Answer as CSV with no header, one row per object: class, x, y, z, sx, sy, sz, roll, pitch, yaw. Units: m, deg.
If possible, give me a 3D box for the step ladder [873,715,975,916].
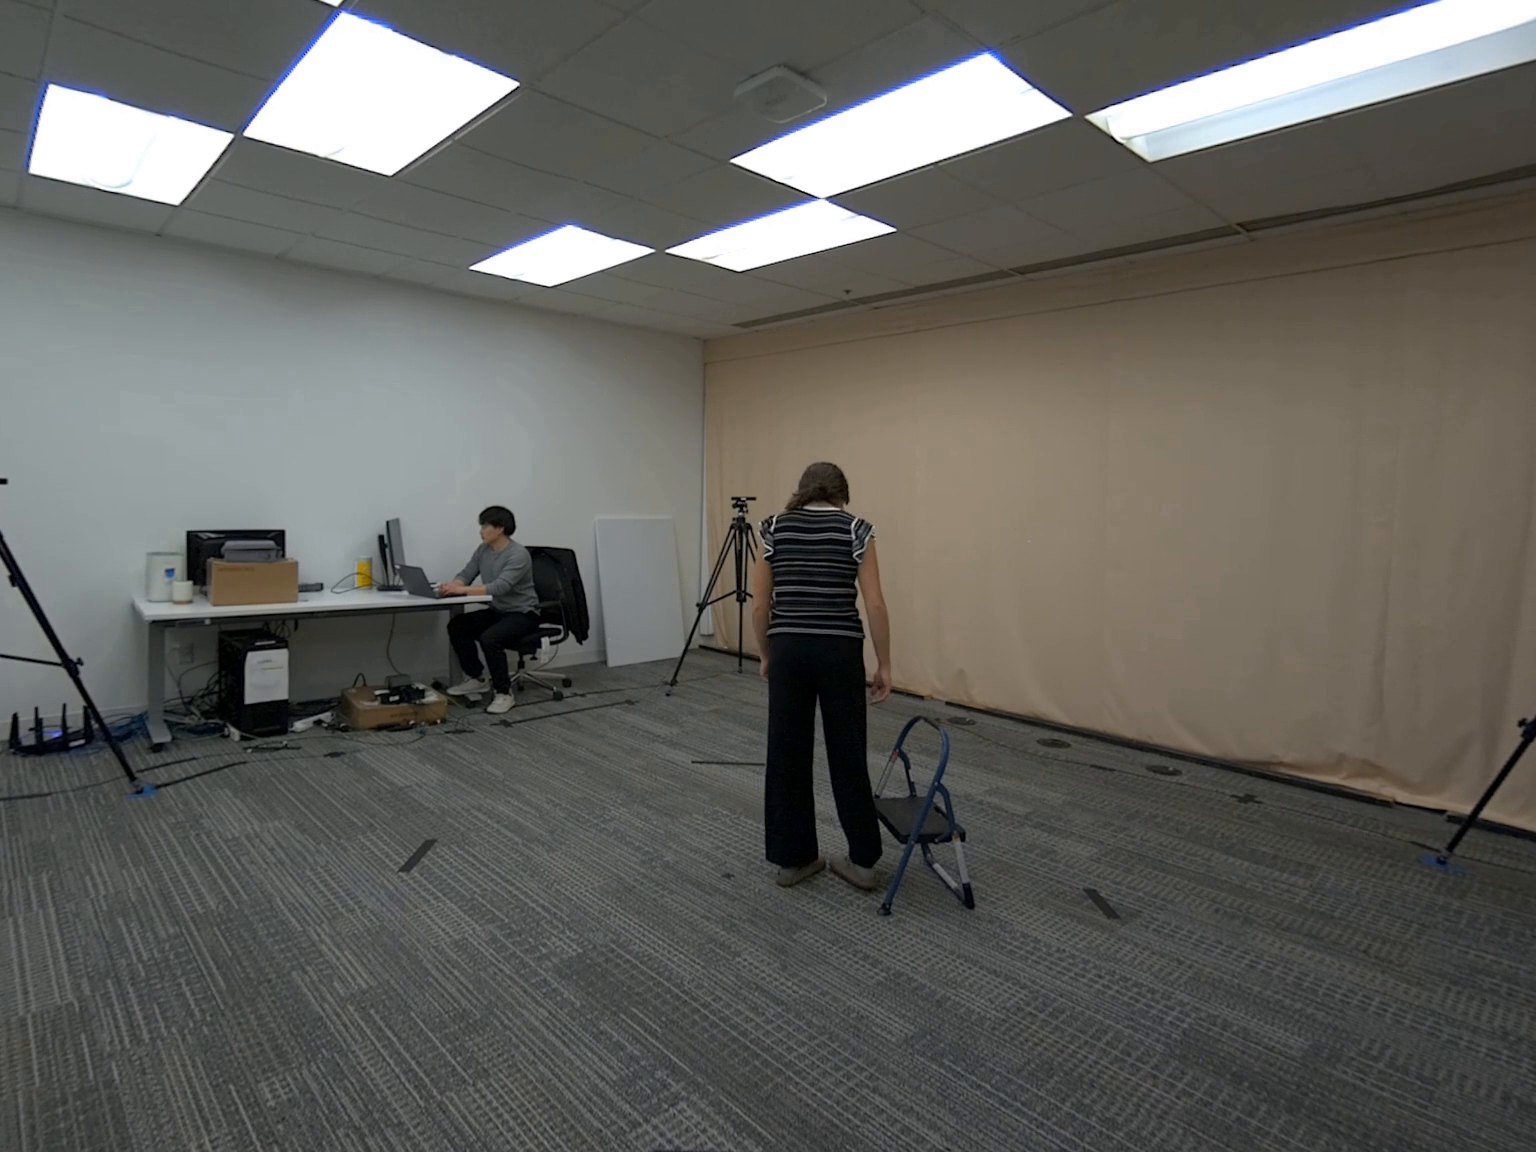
step ladder,0.509,0.827,3.049,0.346,0.604,0.435,1,4,-11
